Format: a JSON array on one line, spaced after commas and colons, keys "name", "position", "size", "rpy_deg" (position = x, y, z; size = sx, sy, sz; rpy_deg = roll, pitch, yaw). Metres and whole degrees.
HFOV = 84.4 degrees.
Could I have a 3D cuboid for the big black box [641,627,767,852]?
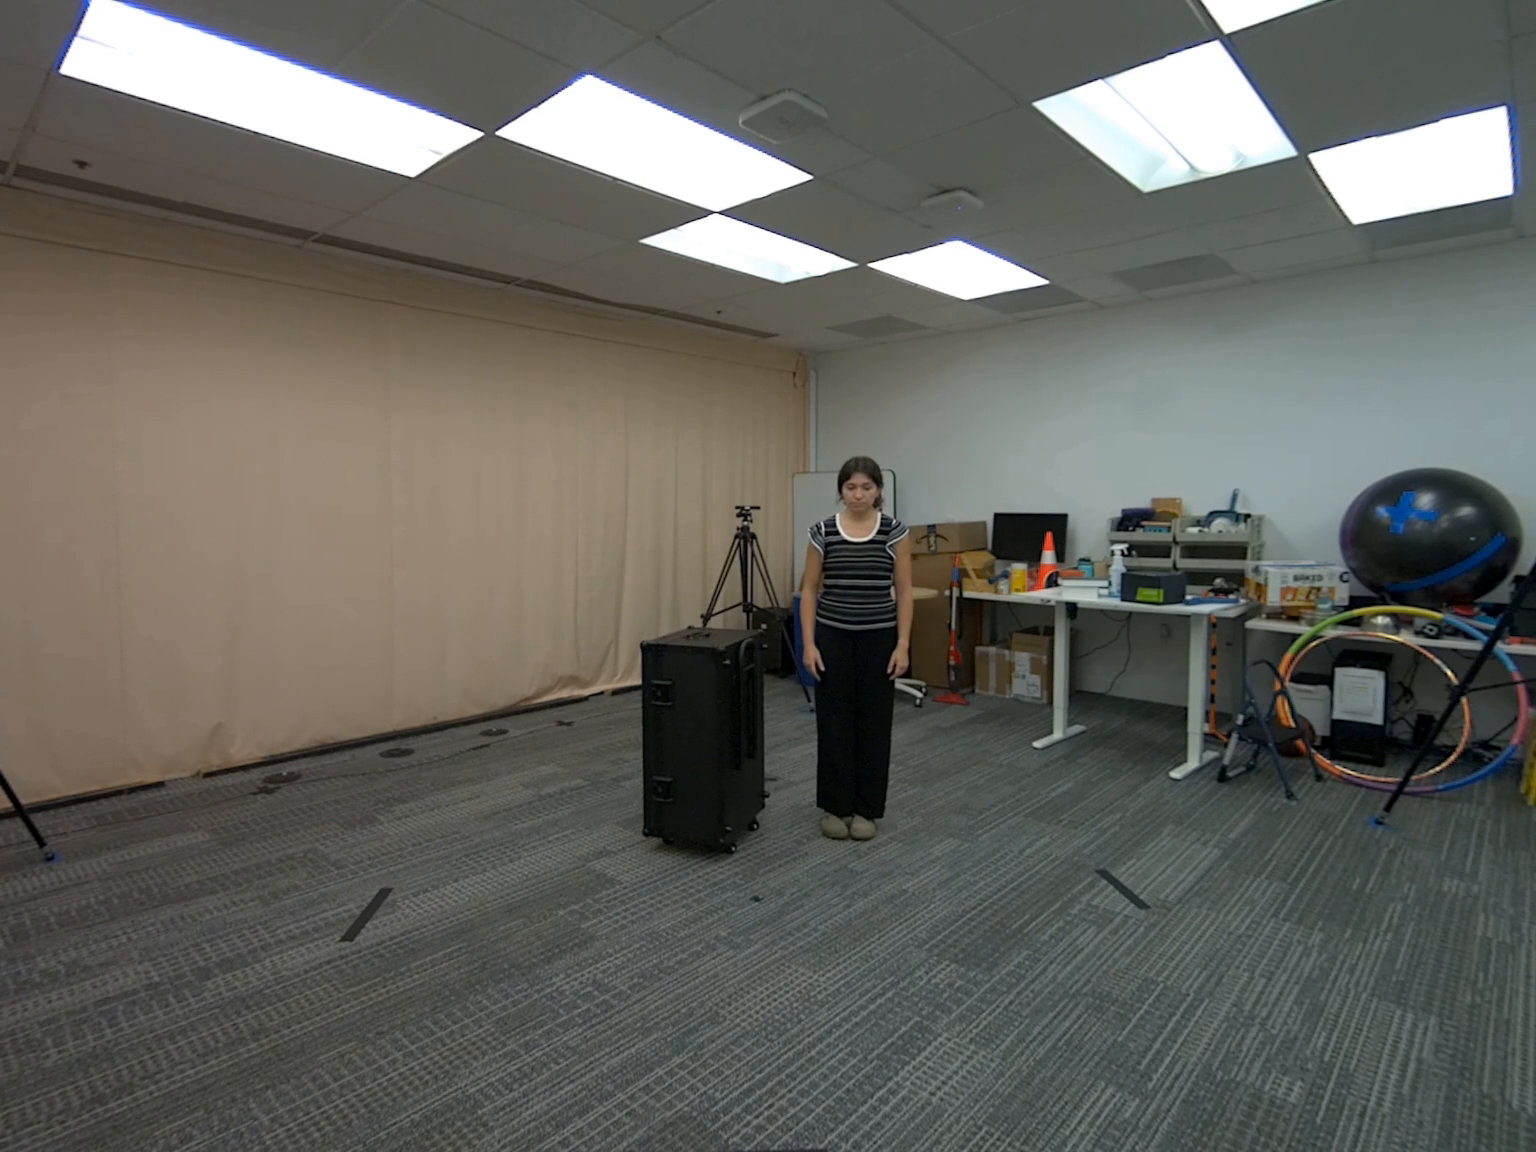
[{"name": "big black box", "position": [-0.243, 0.675, 3.522], "size": [0.405, 0.860, 0.510], "rpy_deg": [1, 3, 21]}]
